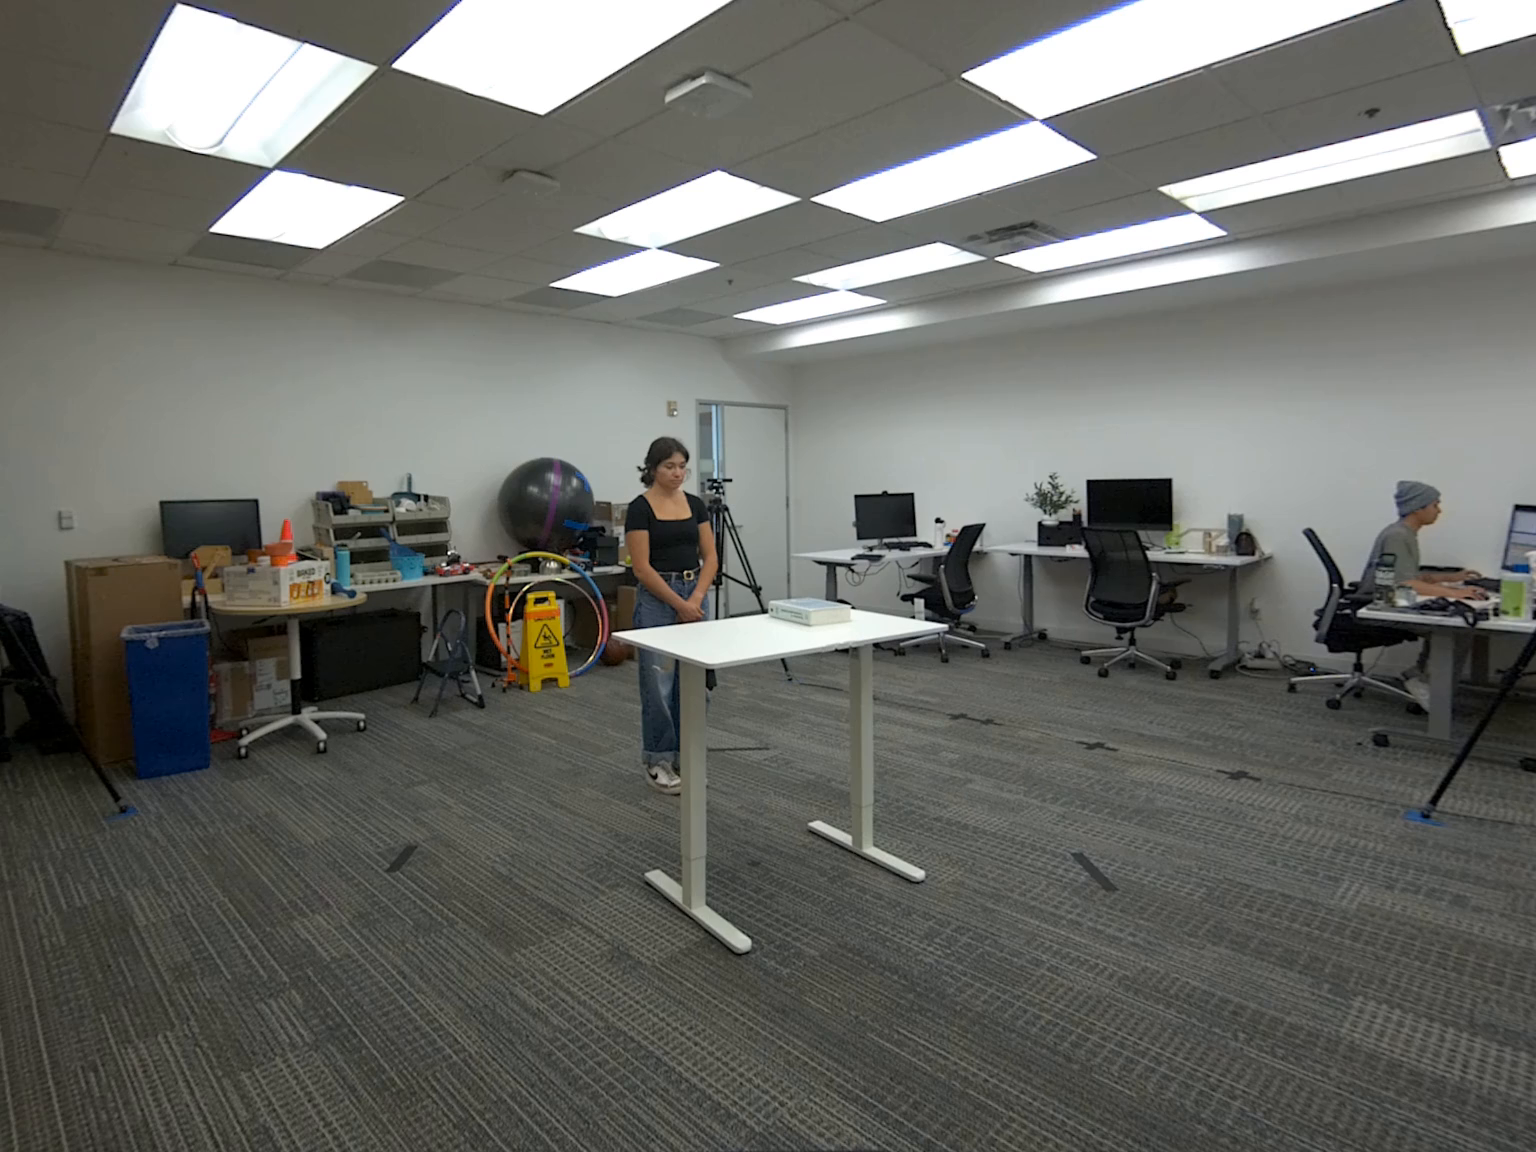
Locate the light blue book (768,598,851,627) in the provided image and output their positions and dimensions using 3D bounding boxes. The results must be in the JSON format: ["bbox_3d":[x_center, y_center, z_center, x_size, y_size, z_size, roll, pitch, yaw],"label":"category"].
[{"bbox_3d":[0.152,0.127,3.127,0.187,0.059,0.268,-4,7,-33],"label":"light blue book"}]
